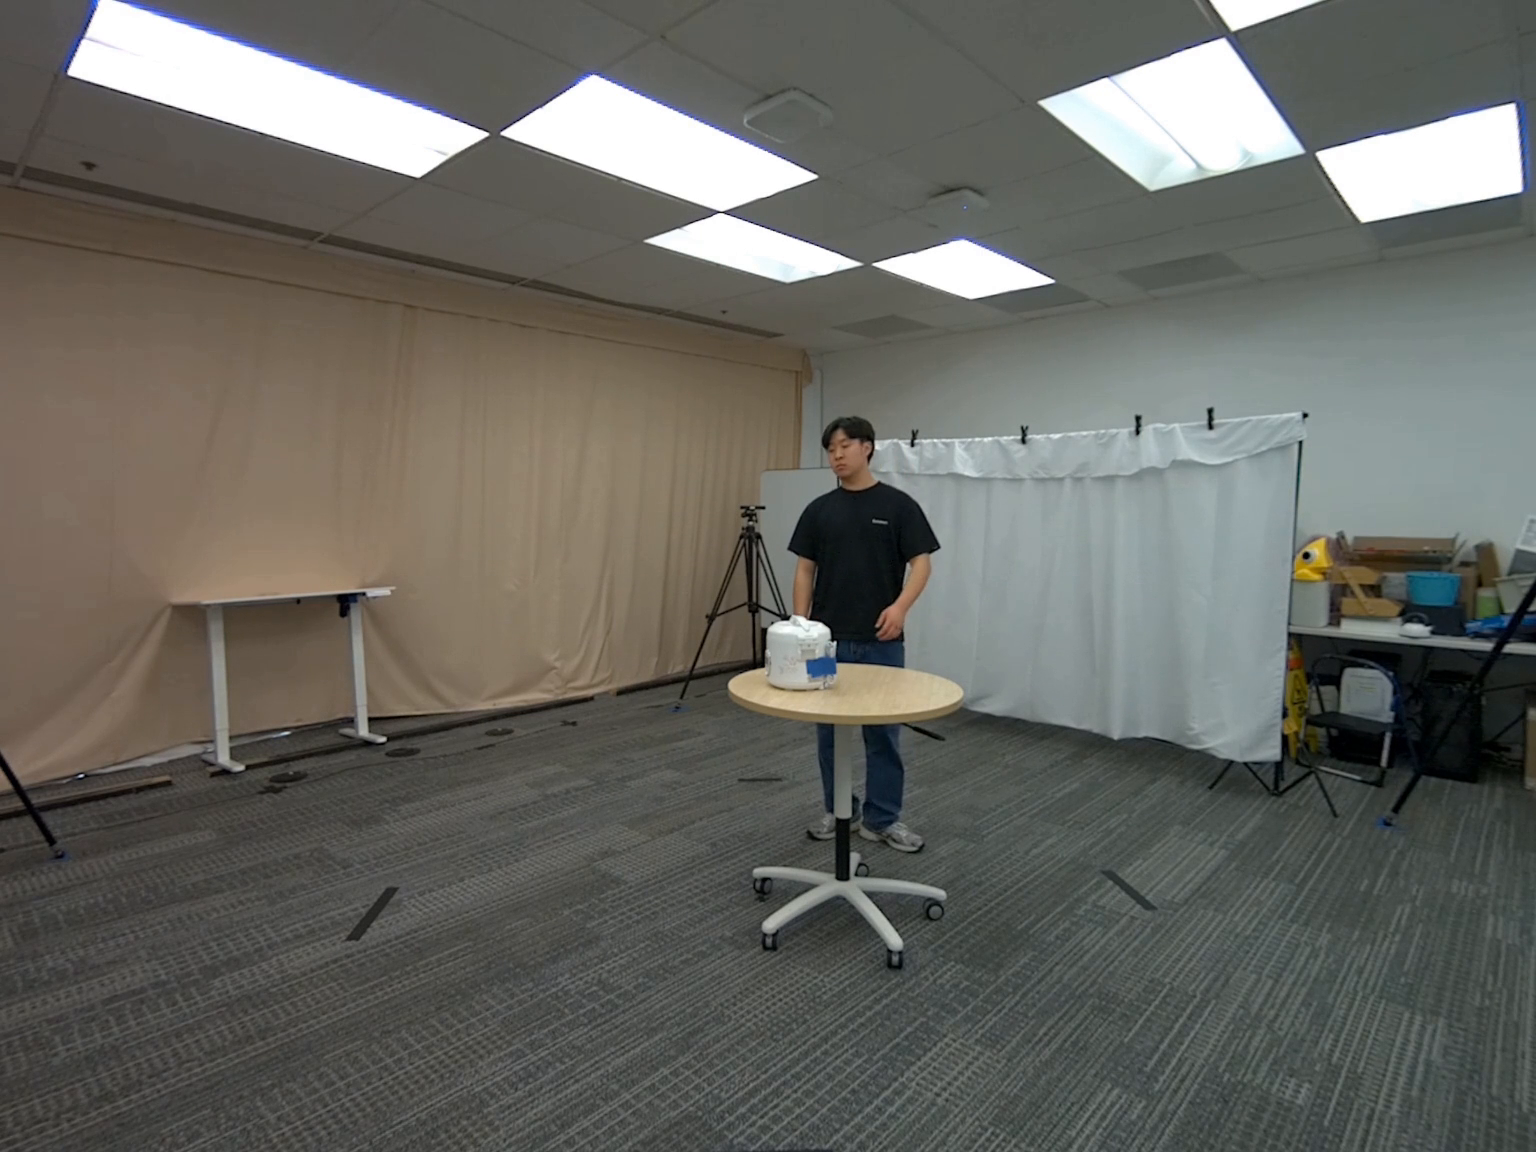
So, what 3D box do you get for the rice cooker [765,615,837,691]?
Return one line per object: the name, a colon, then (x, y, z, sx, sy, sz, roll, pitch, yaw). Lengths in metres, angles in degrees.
rice cooker: (0.099, 0.245, 2.784, 0.214, 0.232, 0.224, -1, 4, -13)
